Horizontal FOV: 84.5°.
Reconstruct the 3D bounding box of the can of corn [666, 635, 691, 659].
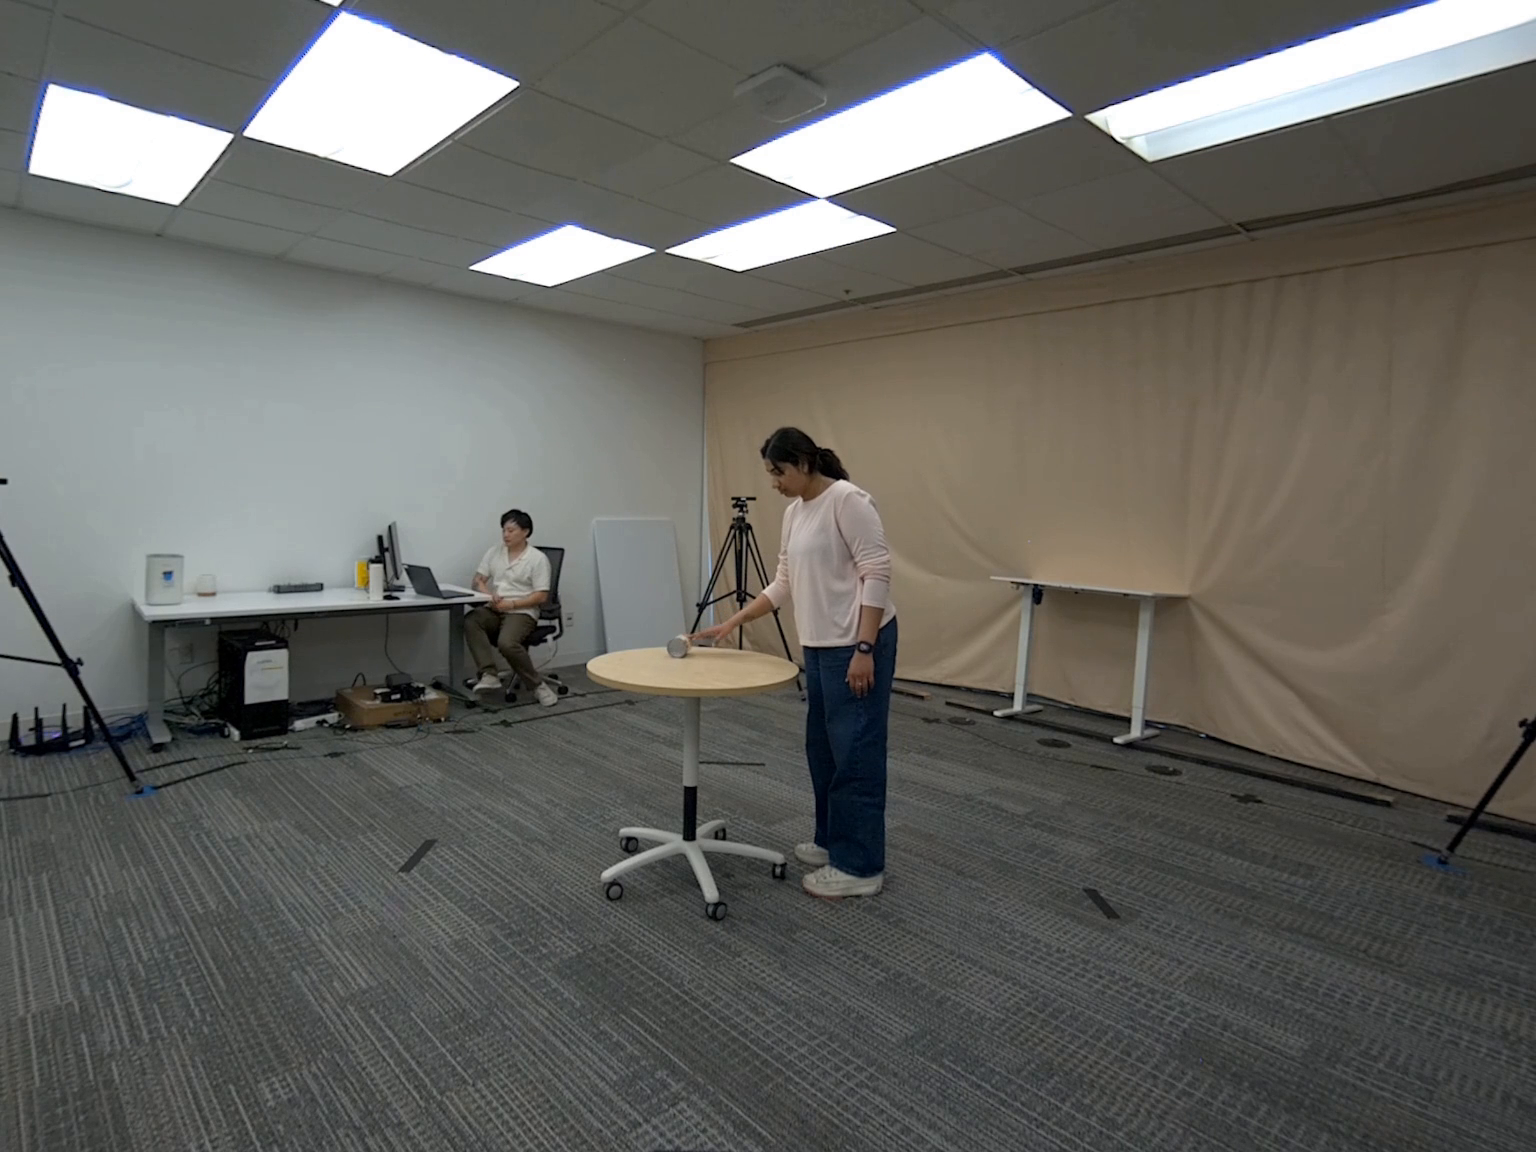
[{"bbox_3d":[-0.339,0.264,3.241,0.074,0.074,0.111,2,3,5],"label":"can of corn"}]
